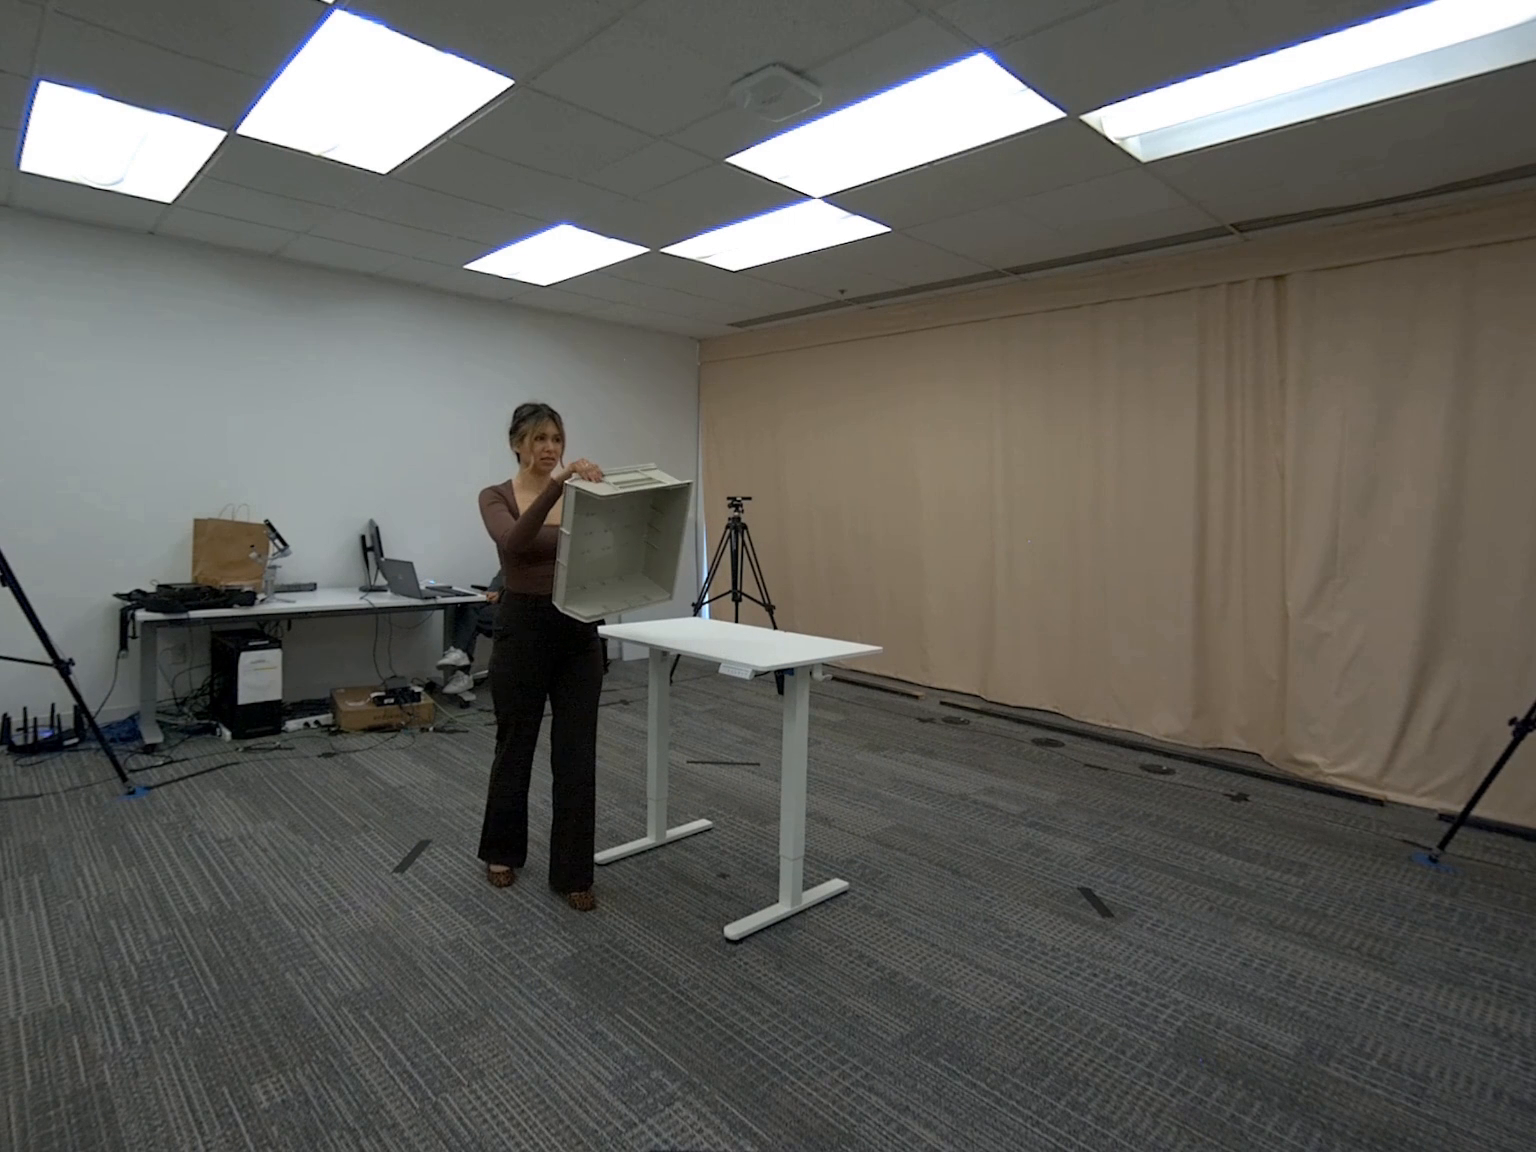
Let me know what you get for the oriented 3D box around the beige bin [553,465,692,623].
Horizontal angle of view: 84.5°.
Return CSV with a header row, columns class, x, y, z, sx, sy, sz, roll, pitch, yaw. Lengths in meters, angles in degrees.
class,x,y,z,sx,sy,sz,roll,pitch,yaw
beige bin,-0.467,-0.107,2.619,0.194,0.417,0.371,28,28,34
